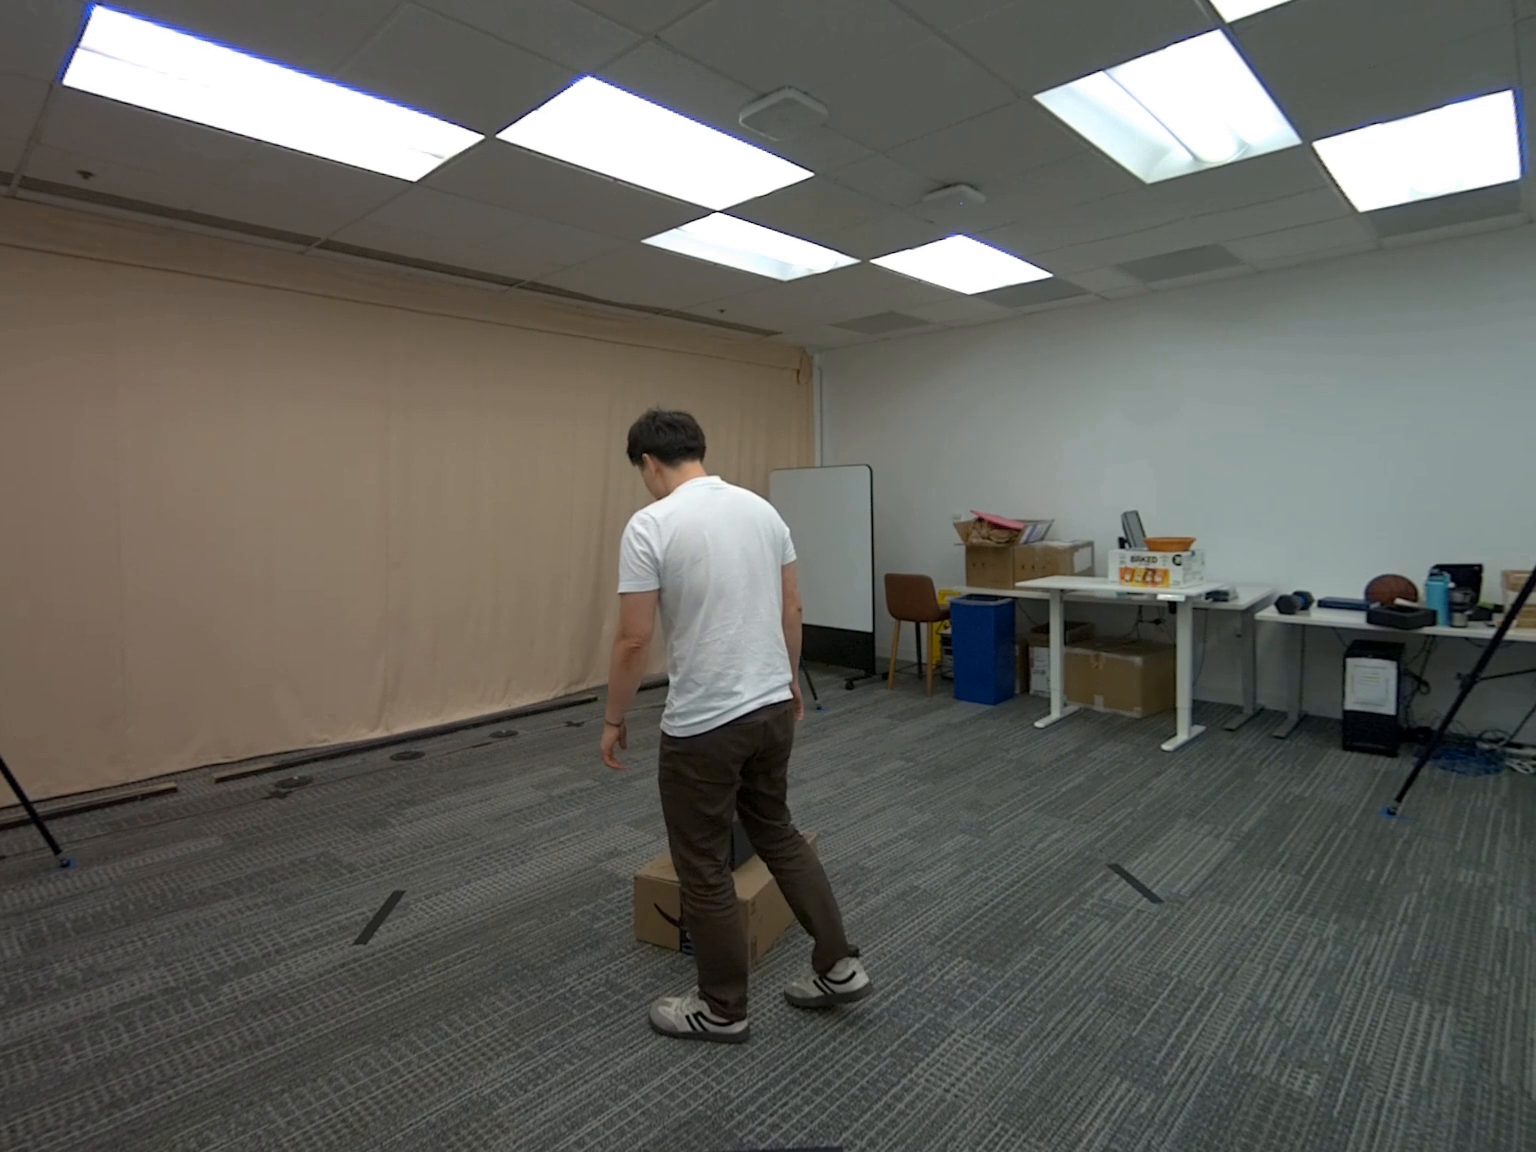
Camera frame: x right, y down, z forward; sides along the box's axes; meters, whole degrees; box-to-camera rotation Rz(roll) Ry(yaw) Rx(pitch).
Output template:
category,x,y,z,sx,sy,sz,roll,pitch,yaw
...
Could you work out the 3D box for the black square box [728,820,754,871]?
category,x,y,z,sx,sy,sz,roll,pitch,yaw
black square box,-0.159,0.856,2.831,0.234,0.156,0.211,-2,3,29
